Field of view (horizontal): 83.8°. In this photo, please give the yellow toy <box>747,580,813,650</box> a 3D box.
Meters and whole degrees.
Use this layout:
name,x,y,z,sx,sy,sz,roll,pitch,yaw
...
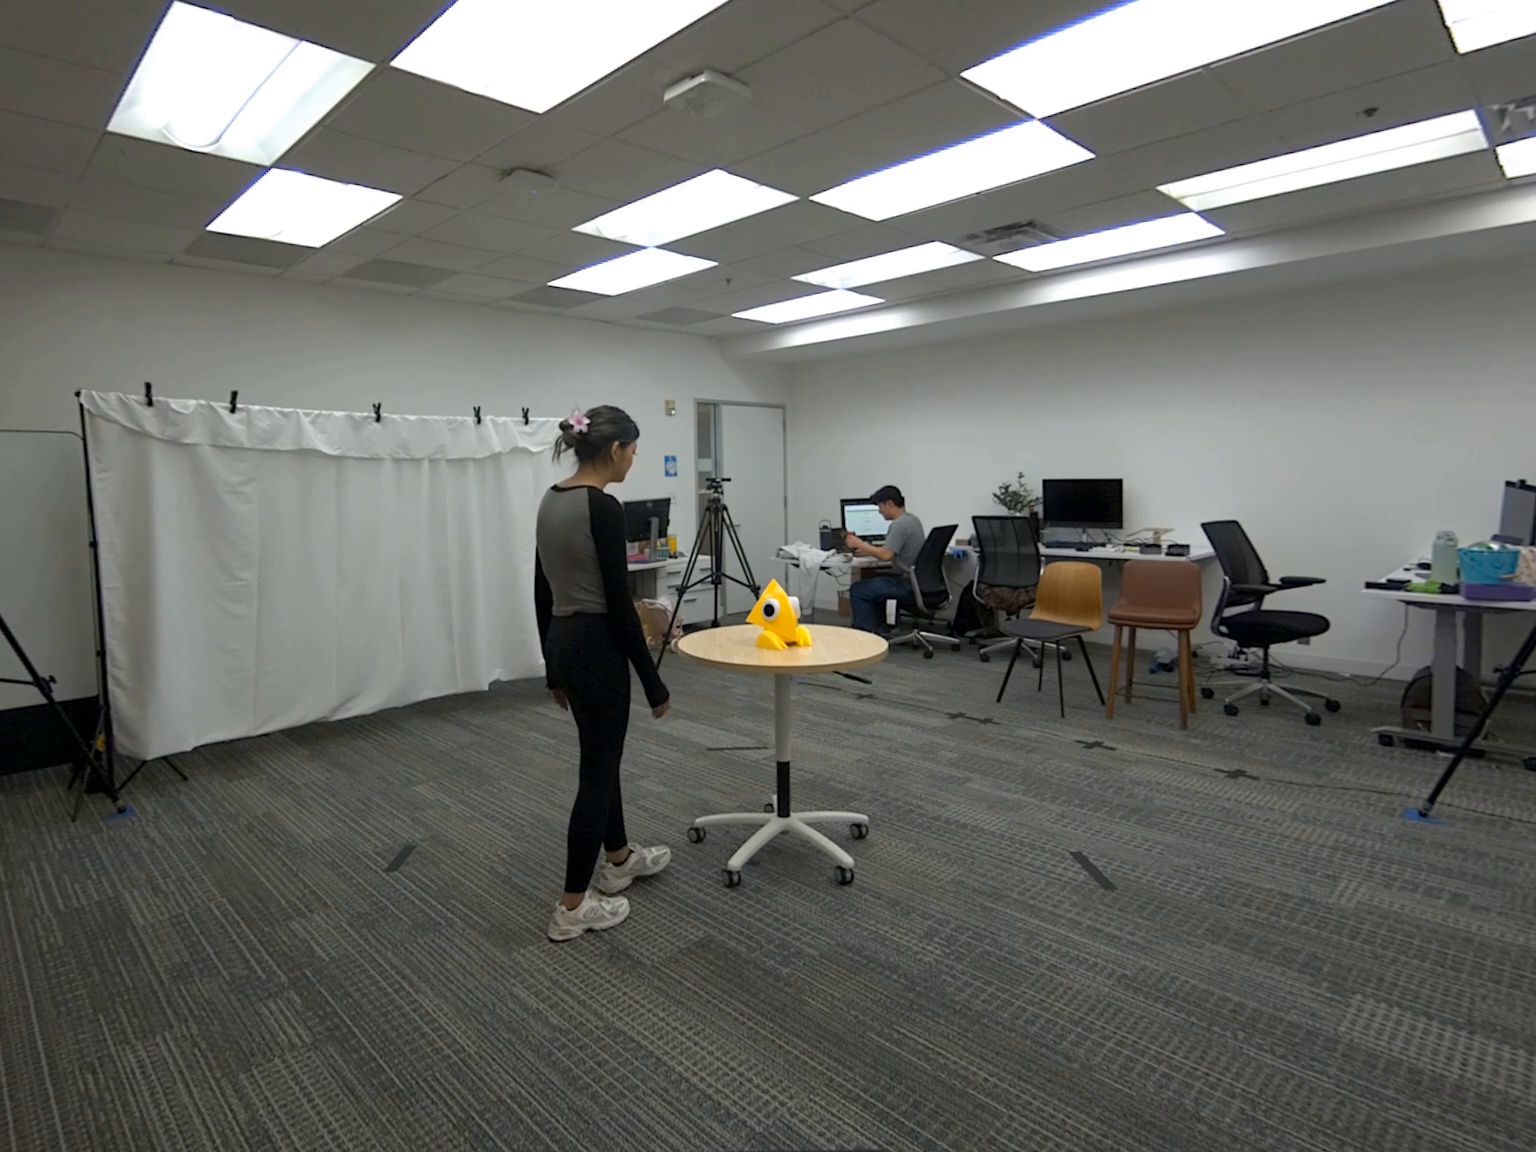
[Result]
name,x,y,z,sx,sy,sz,roll,pitch,yaw
yellow toy,0.056,0.132,3.106,0.200,0.230,0.198,-3,6,-29
